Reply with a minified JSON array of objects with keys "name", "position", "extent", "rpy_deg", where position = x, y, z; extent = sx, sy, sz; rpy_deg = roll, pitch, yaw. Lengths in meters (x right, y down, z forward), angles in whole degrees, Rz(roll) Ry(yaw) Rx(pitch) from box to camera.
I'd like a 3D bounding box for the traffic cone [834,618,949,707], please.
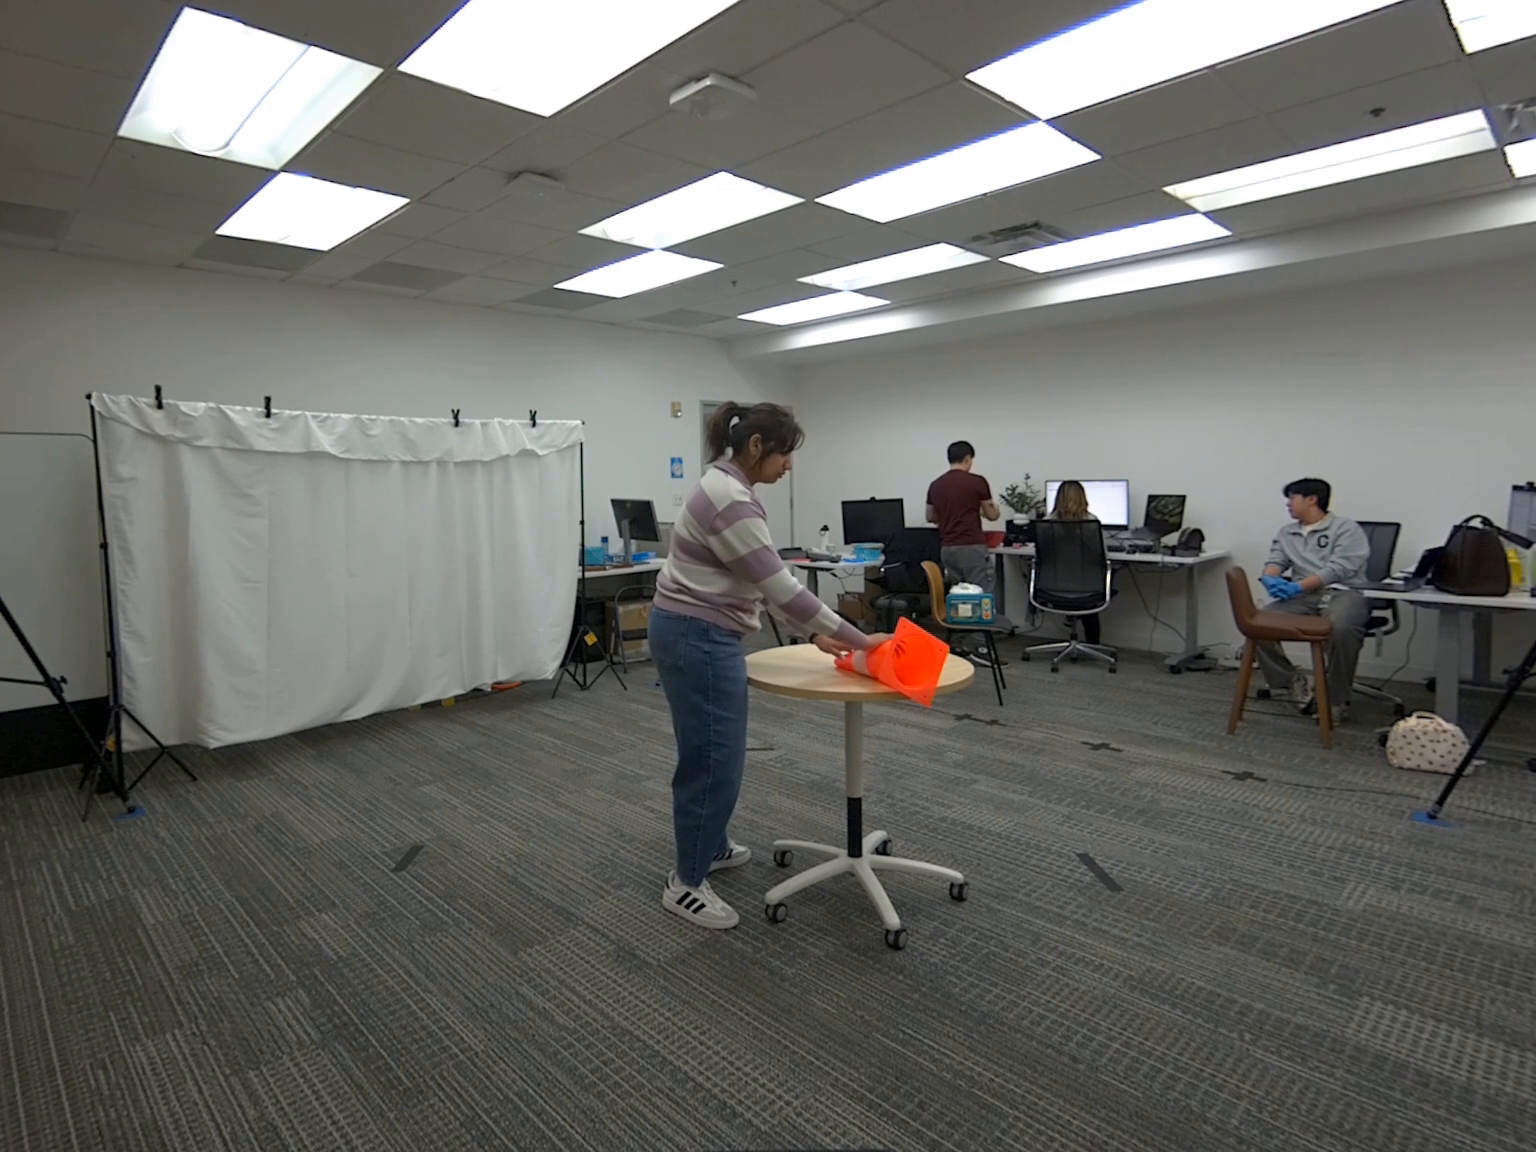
[{"name":"traffic cone","position":[0.329,0.264,2.620],"extent":[0.200,0.205,0.391],"rpy_deg":[32,-19,-22]}]
